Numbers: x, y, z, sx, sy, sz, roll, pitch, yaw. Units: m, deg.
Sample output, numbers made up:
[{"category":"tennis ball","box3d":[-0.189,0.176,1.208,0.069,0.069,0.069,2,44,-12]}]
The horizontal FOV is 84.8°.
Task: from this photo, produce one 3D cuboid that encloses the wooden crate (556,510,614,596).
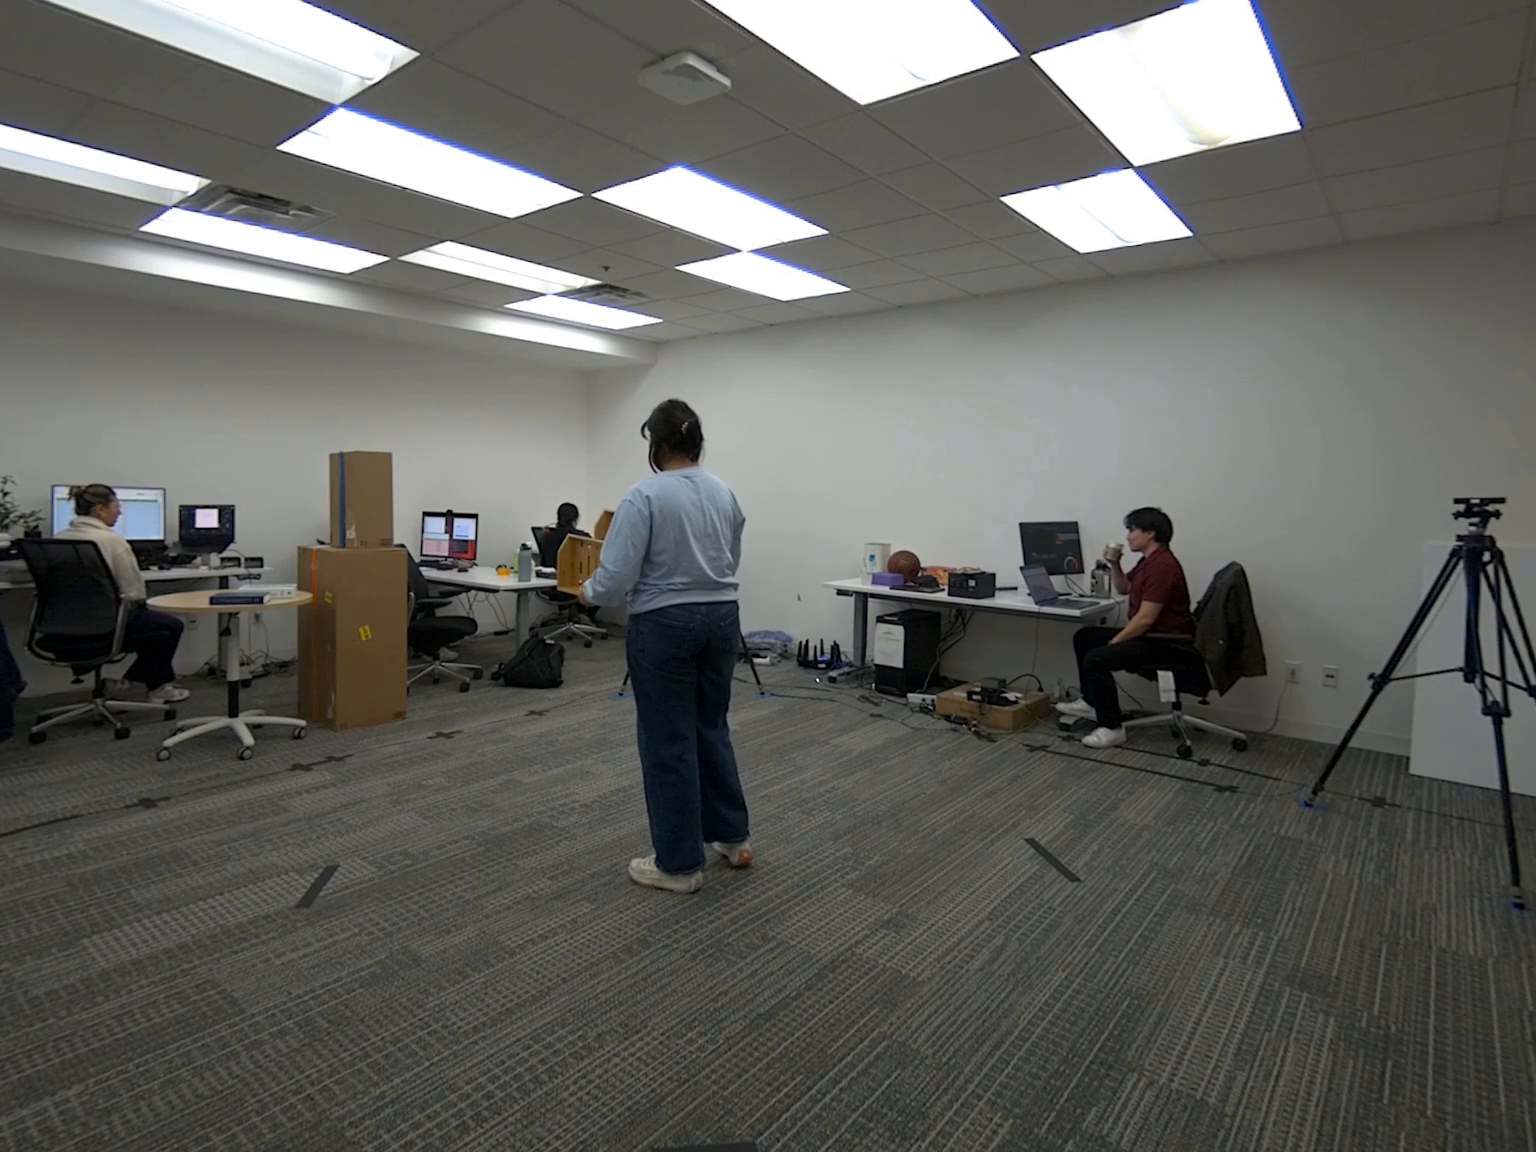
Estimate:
[{"category":"wooden crate","box3d":[-0.593,-0.087,3.158,0.336,0.300,0.265,10,10,38]}]
